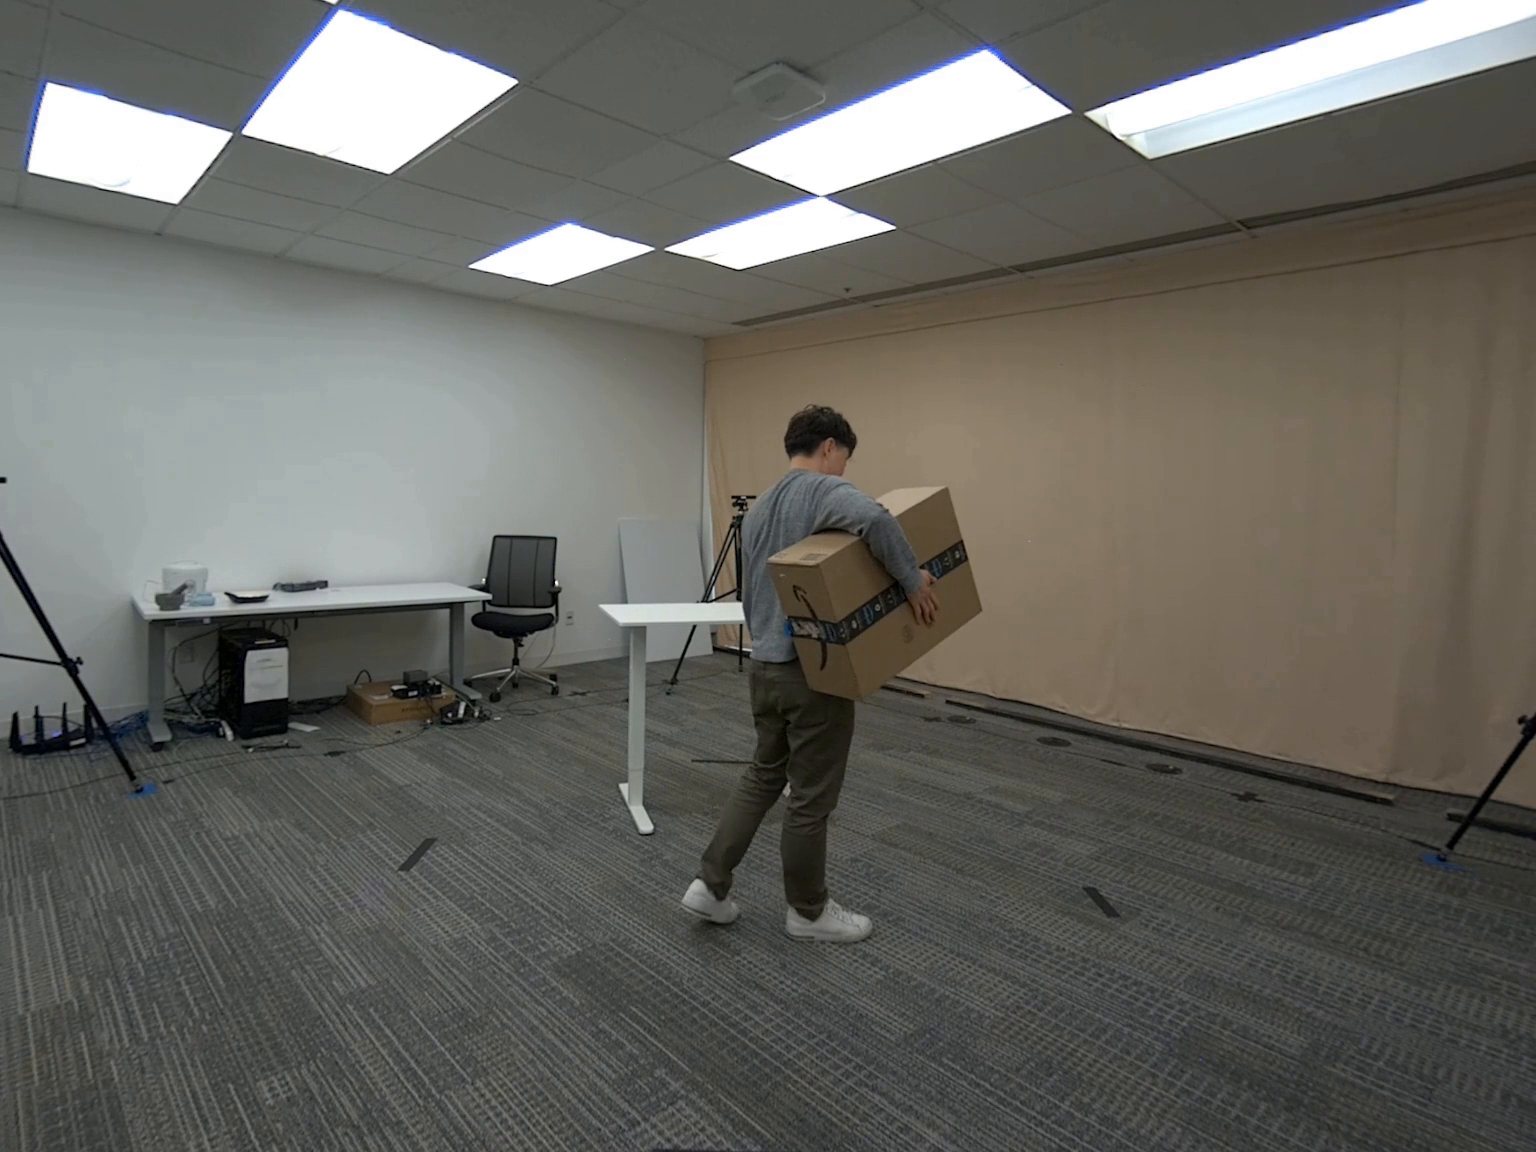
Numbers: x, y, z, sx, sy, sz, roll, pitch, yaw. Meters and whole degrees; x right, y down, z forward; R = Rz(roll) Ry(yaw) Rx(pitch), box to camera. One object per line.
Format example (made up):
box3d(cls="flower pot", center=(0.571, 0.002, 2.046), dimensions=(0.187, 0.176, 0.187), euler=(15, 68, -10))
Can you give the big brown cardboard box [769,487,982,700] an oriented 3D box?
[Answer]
box3d(cls="big brown cardboard box", center=(0.315, 0.038, 2.460), dimensions=(0.583, 0.412, 0.238), euler=(-28, 17, -32))
